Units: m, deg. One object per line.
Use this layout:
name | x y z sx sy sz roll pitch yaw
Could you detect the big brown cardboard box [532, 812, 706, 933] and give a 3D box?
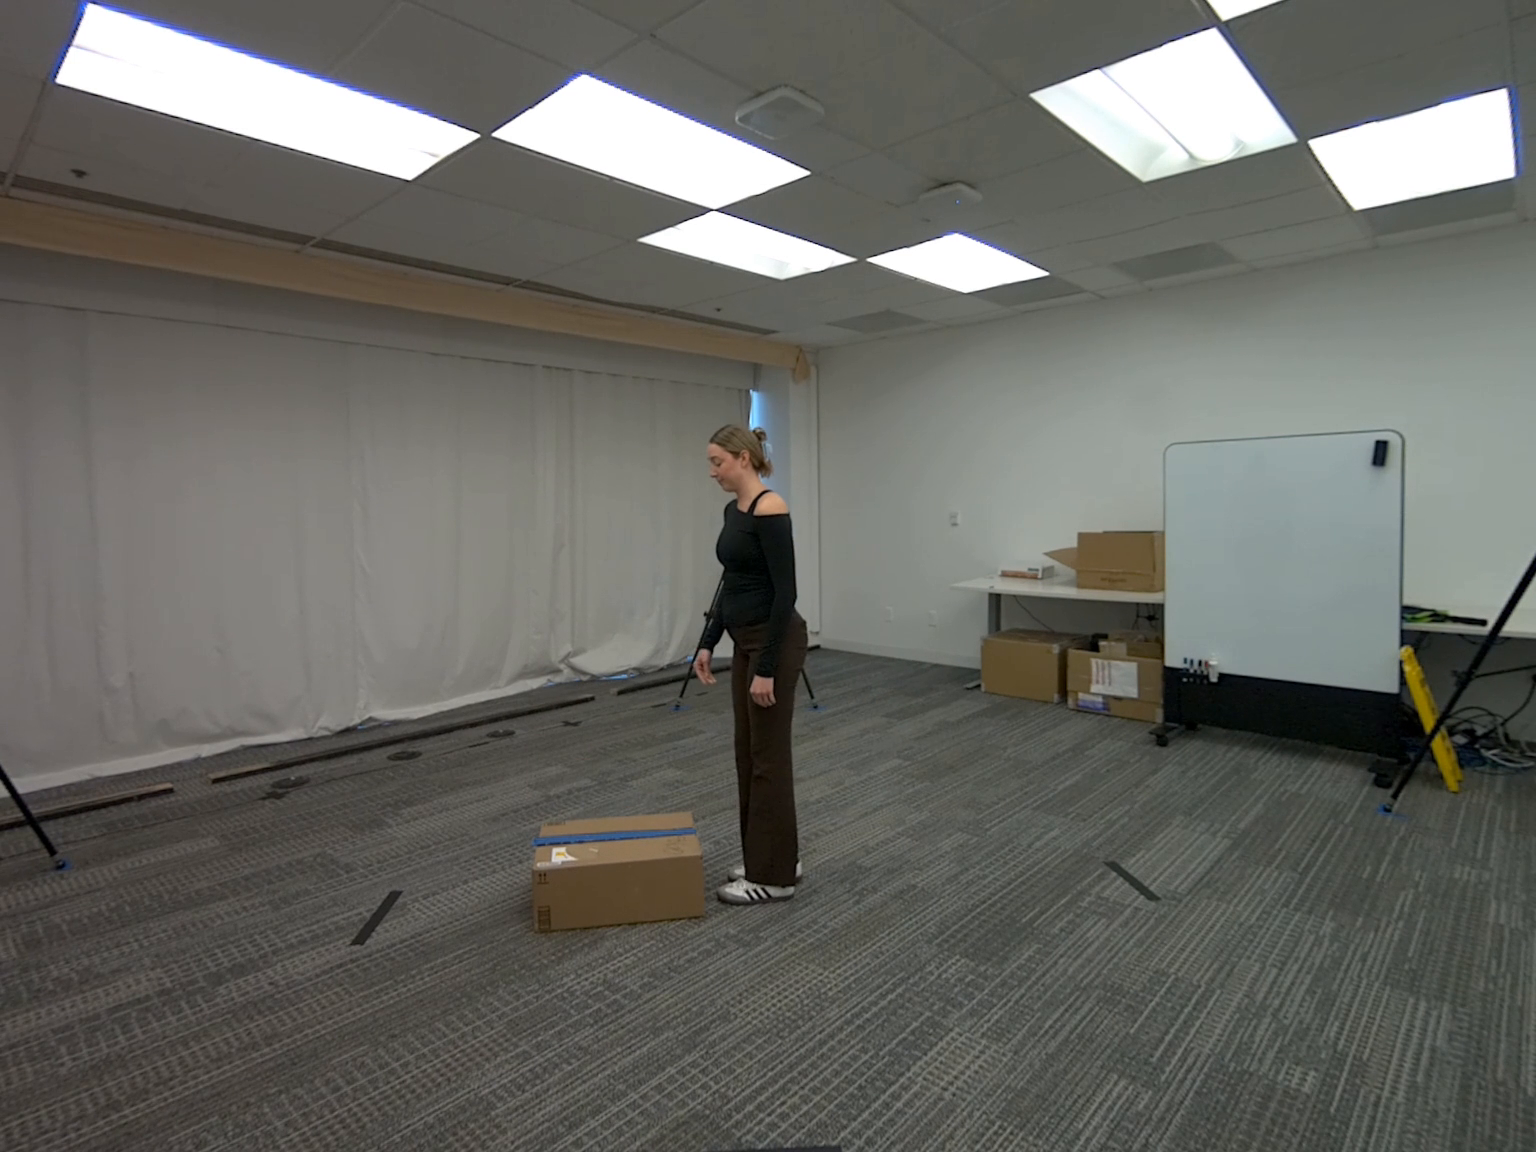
big brown cardboard box | -0.536 1.035 2.998 0.583 0.232 0.423 -1 4 -10
